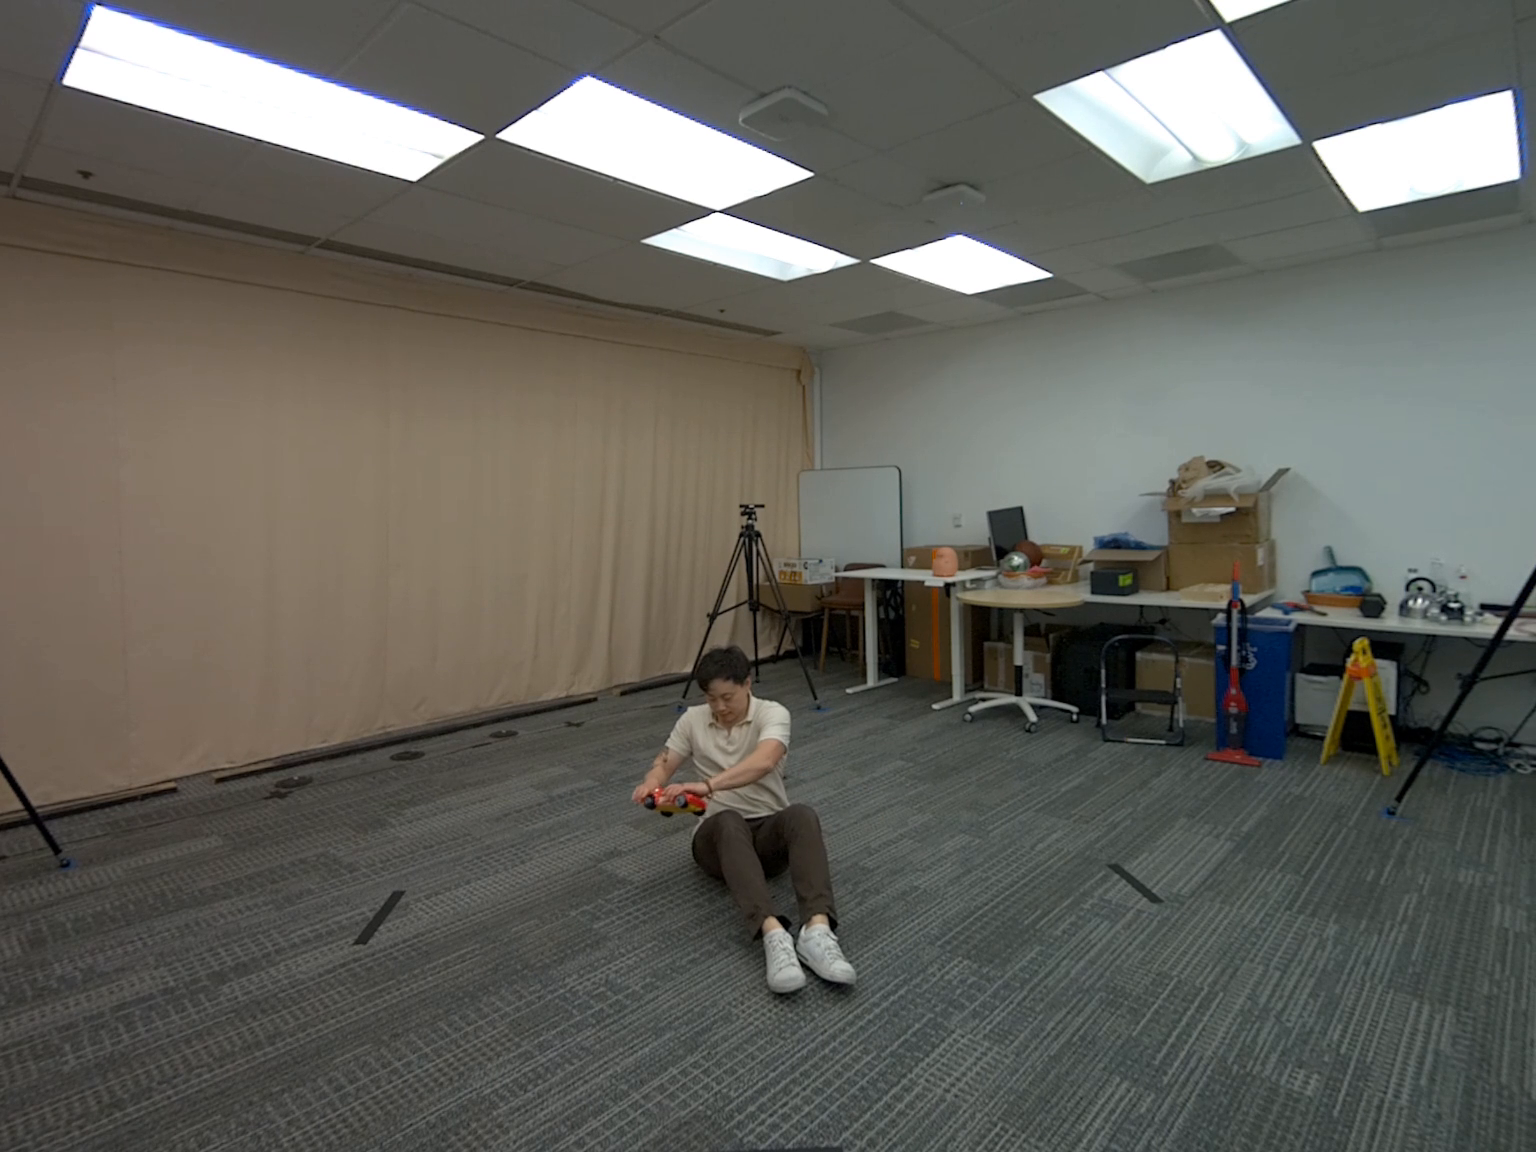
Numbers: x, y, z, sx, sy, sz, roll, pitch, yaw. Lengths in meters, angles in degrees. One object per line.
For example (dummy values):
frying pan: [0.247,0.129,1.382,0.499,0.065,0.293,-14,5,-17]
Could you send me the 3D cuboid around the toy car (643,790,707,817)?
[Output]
toy car: [-0.304,0.771,2.867,0.262,0.083,0.126,2,-34,34]
